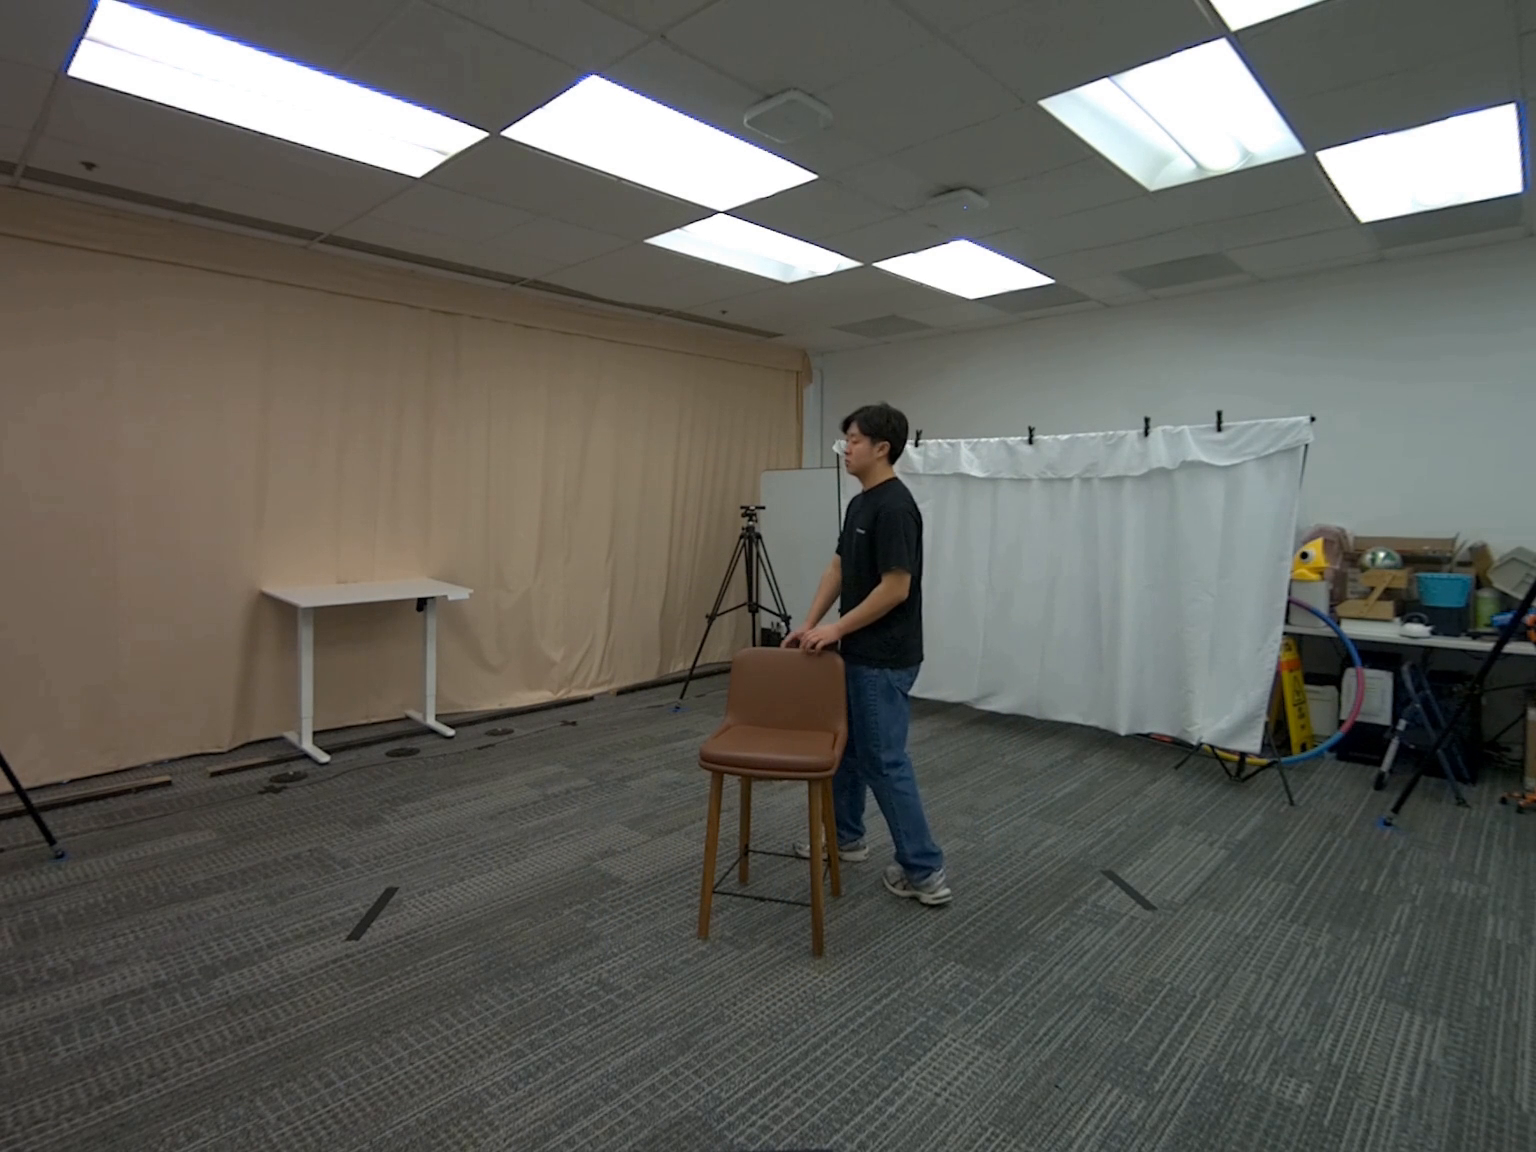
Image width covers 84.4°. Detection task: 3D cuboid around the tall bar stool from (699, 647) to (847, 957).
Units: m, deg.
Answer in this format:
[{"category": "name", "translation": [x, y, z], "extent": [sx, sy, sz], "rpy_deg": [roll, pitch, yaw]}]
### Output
[{"category": "tall bar stool", "translation": [0.030, 0.720, 2.844], "extent": [0.465, 0.889, 0.459], "rpy_deg": [1, 2, 17]}]
